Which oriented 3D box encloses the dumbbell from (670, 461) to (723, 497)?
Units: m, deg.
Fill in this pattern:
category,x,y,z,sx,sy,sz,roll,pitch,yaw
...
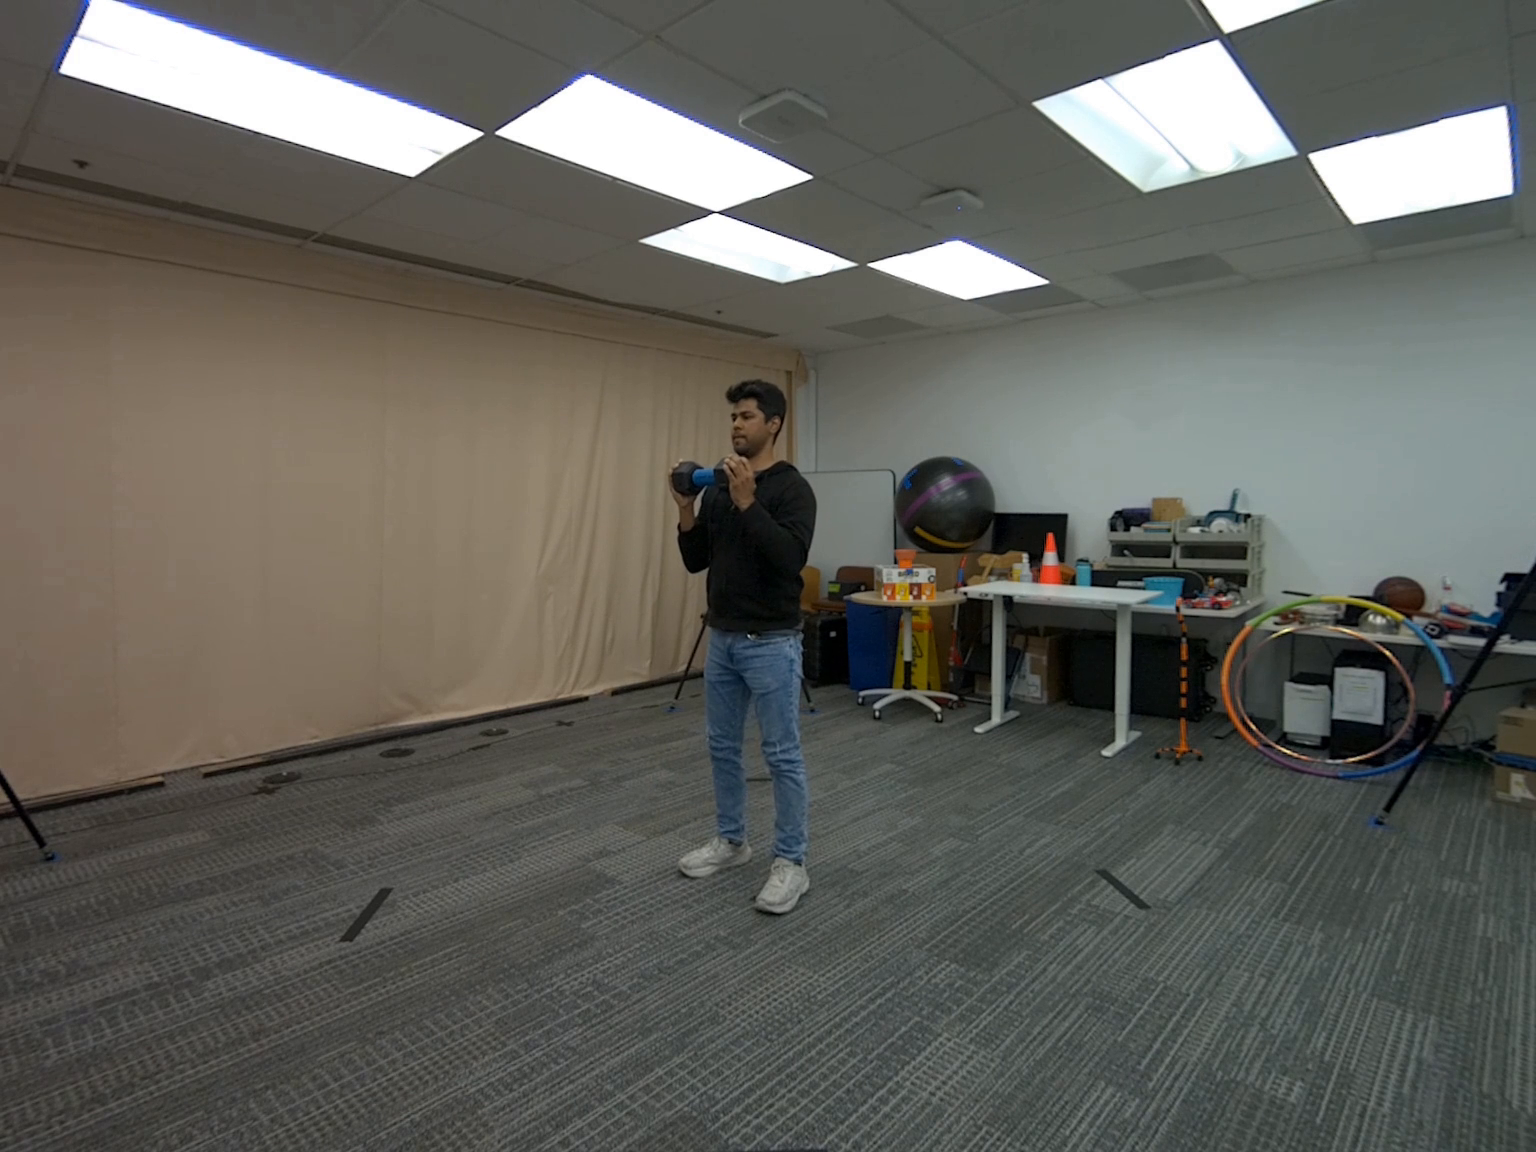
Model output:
category,x,y,z,sx,sy,sz,roll,pitch,yaw
dumbbell,-0.194,-0.333,2.901,0.106,0.122,0.303,-17,13,-43
